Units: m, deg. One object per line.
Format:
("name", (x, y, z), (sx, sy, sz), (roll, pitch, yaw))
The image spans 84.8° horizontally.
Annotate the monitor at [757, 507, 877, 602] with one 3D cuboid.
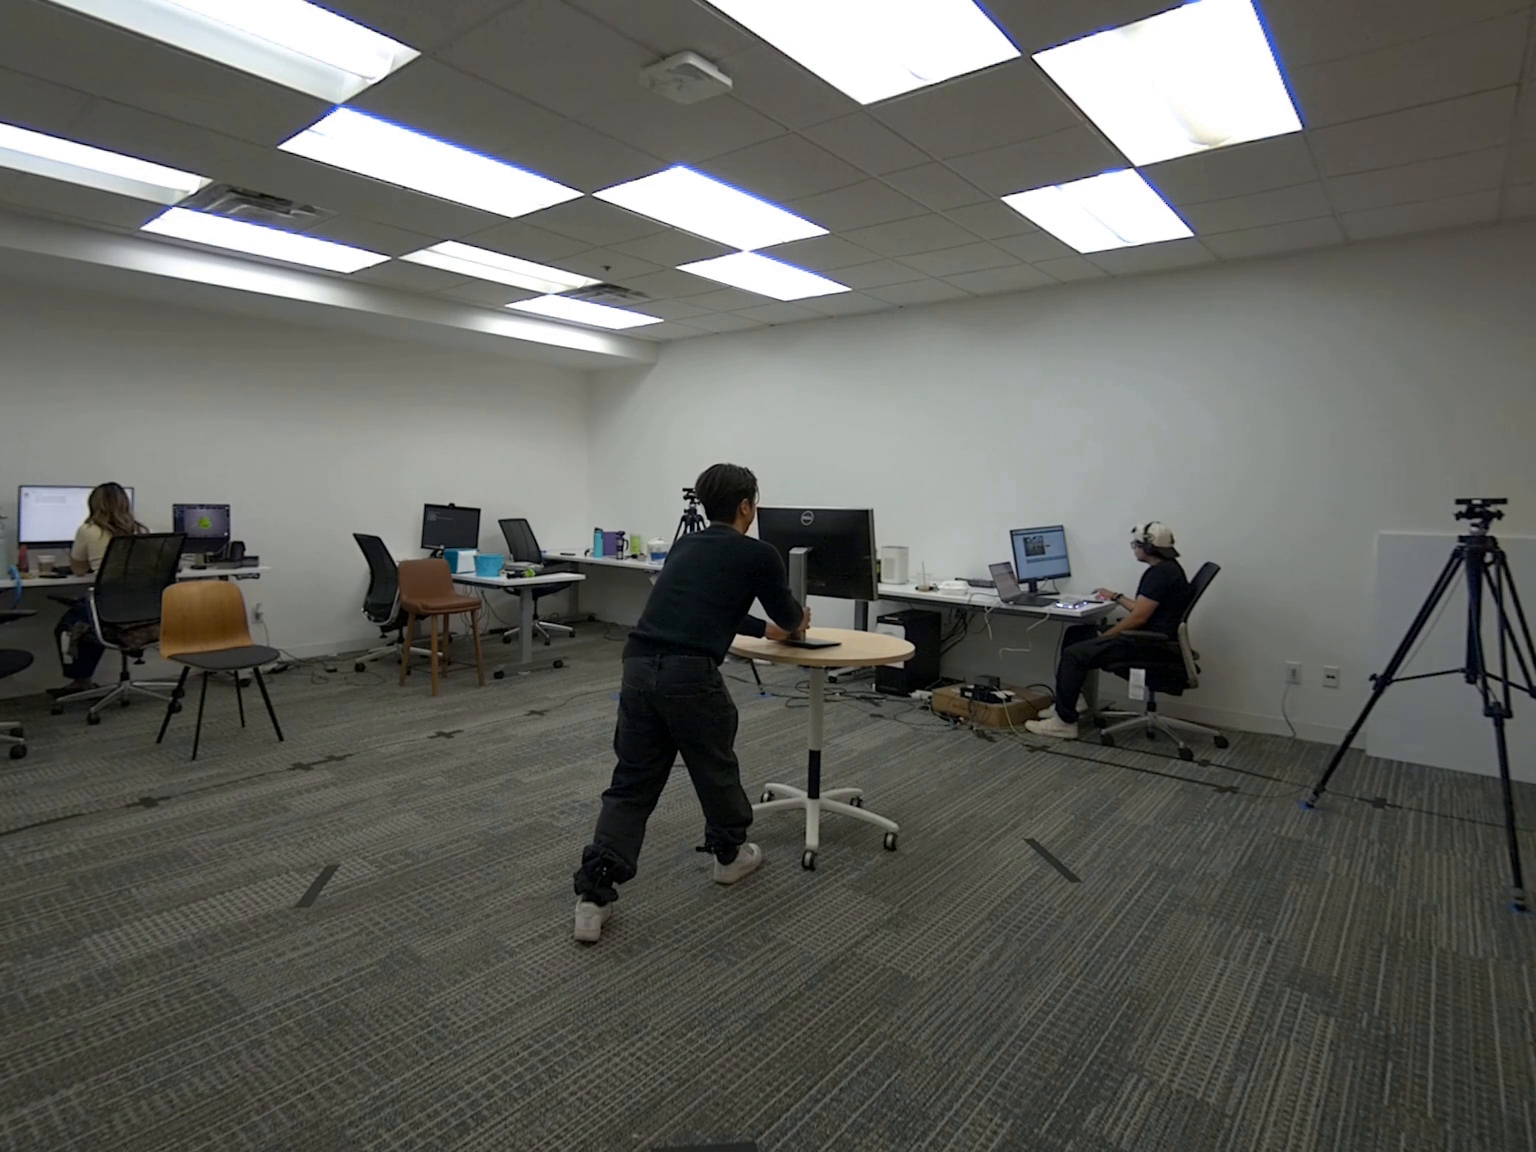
("monitor", (0.153, -0.007, 3.403), (0.557, 0.522, 0.181), (4, 0, 39))
